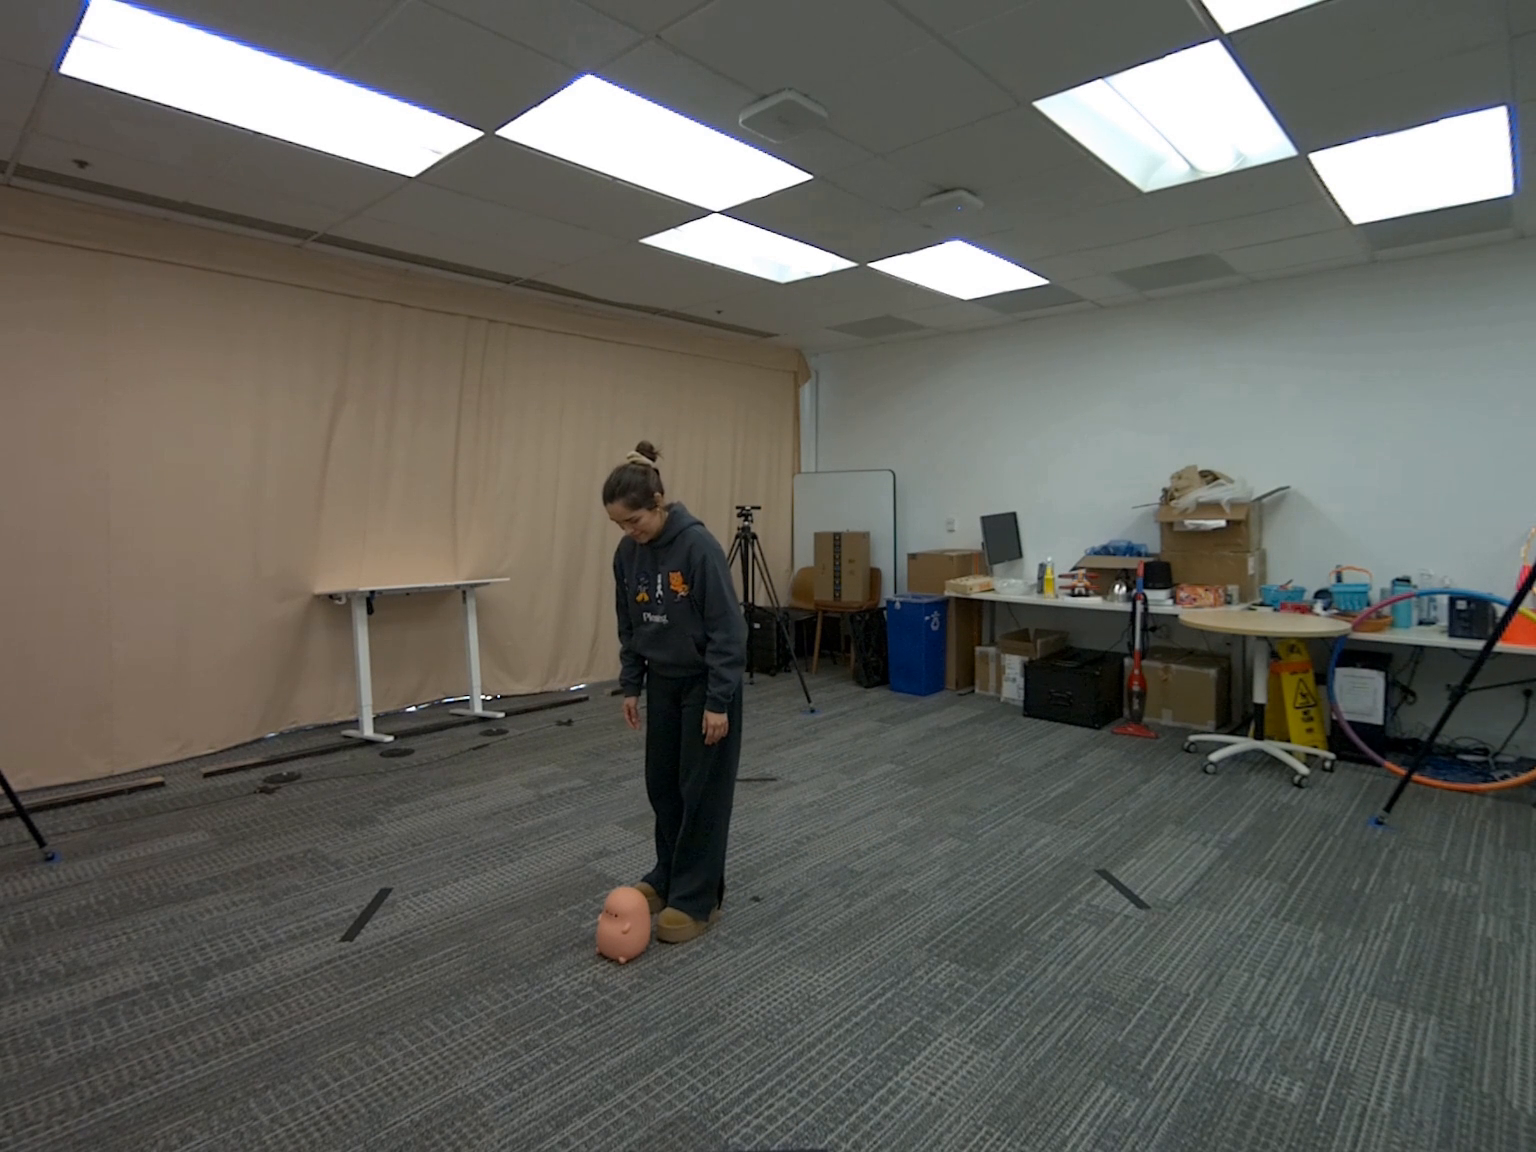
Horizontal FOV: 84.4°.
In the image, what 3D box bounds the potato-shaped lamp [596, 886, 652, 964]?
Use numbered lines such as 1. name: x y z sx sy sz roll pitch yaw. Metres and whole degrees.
1. potato-shaped lamp: -0.434 1.080 2.631 0.170 0.198 0.166 2 4 35
